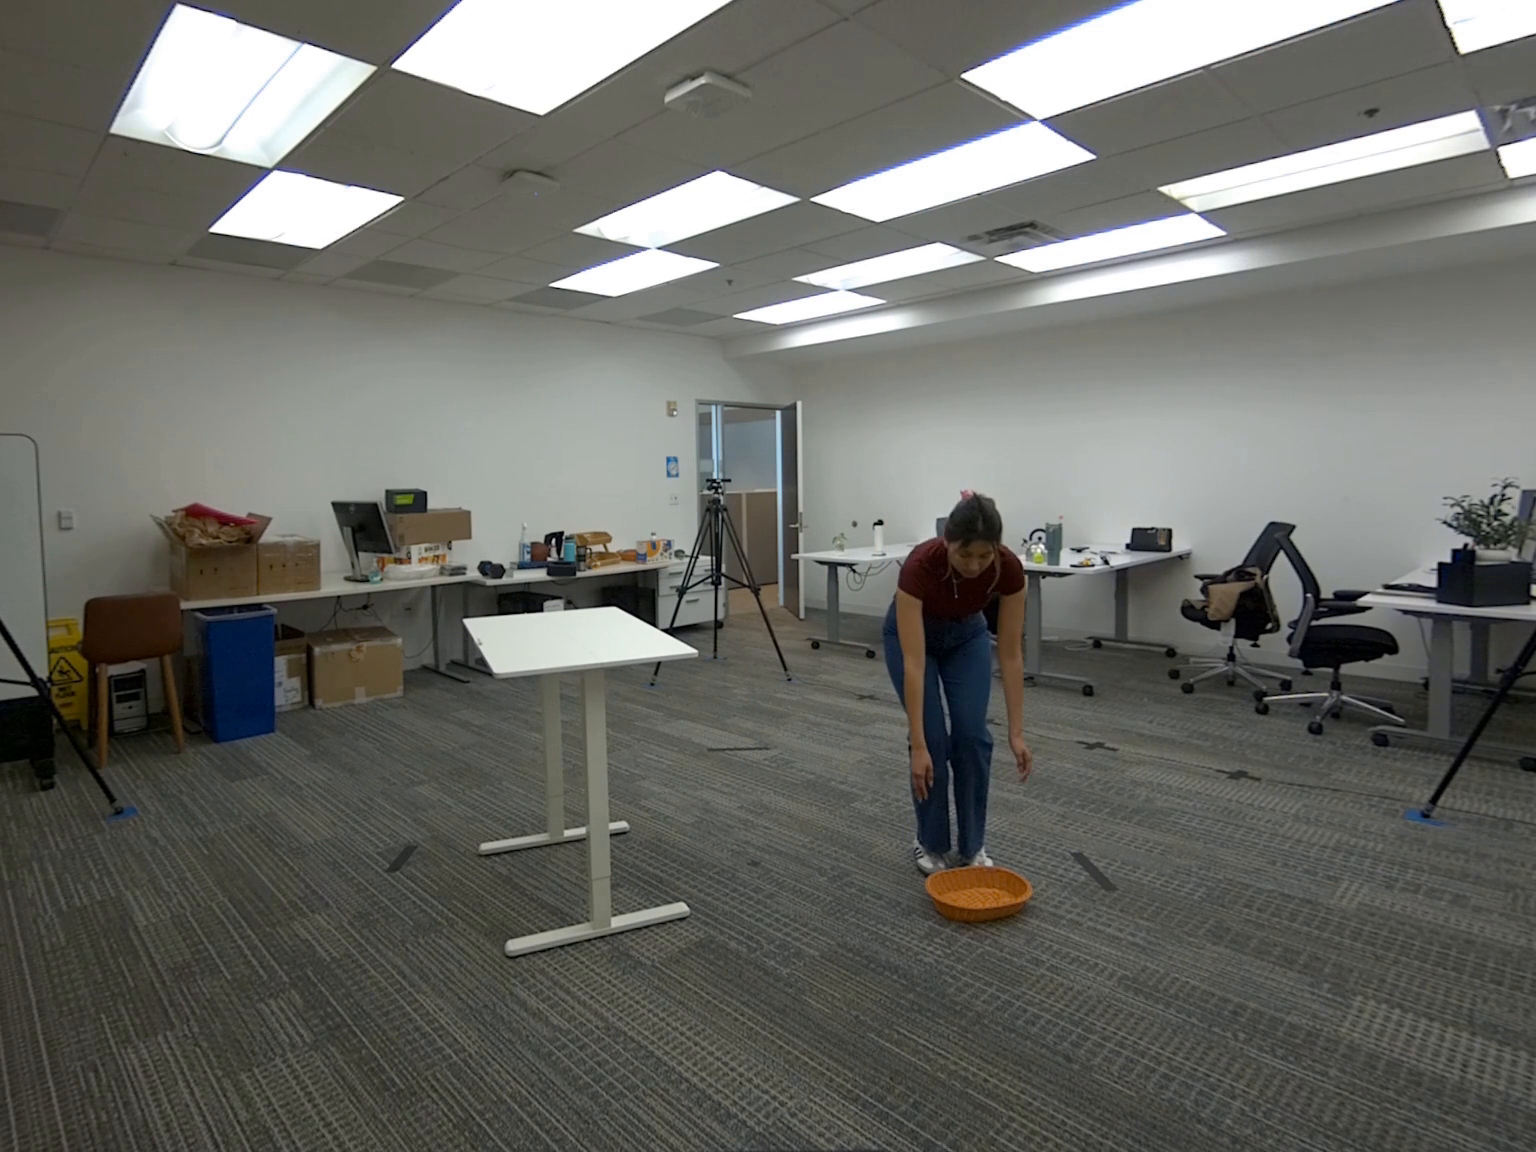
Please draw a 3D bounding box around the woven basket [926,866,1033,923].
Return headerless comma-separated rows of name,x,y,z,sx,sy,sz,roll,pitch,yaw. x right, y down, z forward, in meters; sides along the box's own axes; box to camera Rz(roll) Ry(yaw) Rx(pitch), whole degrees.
woven basket,0.681,1.035,2.762,0.346,0.073,0.257,-3,7,-15
